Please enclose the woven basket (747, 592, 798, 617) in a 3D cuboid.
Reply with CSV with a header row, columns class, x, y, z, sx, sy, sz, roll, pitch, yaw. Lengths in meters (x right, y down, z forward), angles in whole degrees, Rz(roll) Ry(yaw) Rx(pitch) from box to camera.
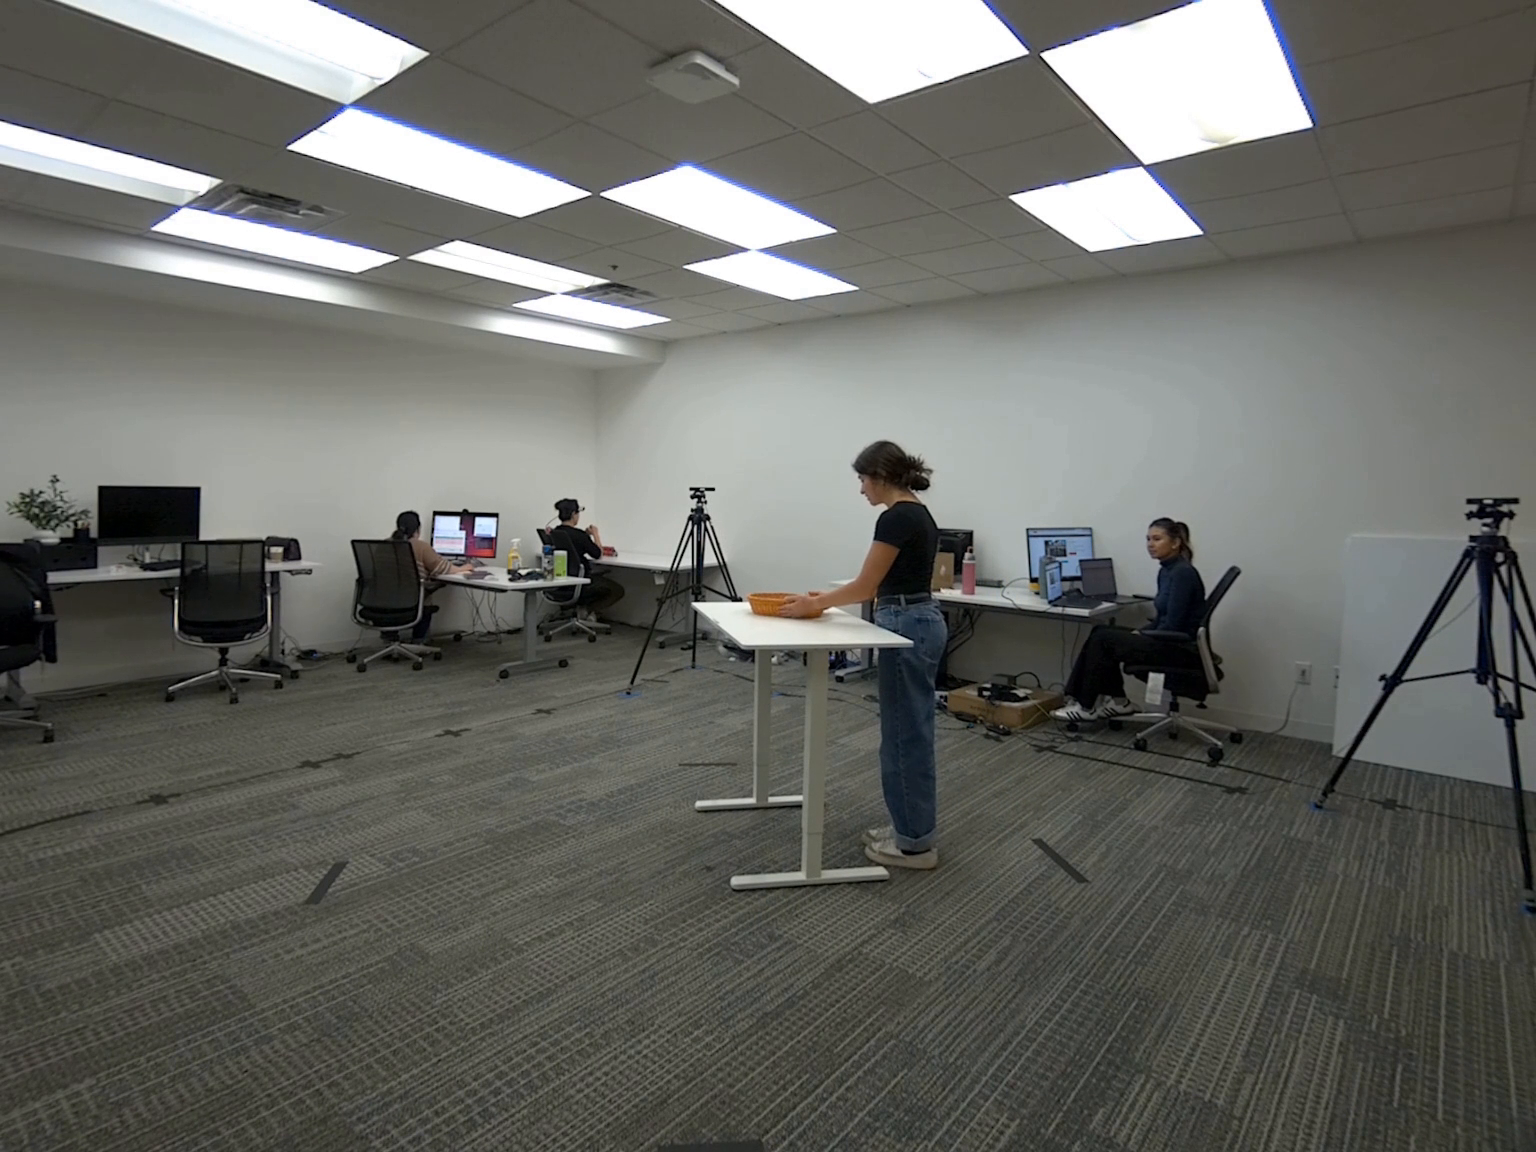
class,x,y,z,sx,sy,sz,roll,pitch,yaw
woven basket,0.073,0.120,3.495,0.355,0.073,0.250,3,6,12
